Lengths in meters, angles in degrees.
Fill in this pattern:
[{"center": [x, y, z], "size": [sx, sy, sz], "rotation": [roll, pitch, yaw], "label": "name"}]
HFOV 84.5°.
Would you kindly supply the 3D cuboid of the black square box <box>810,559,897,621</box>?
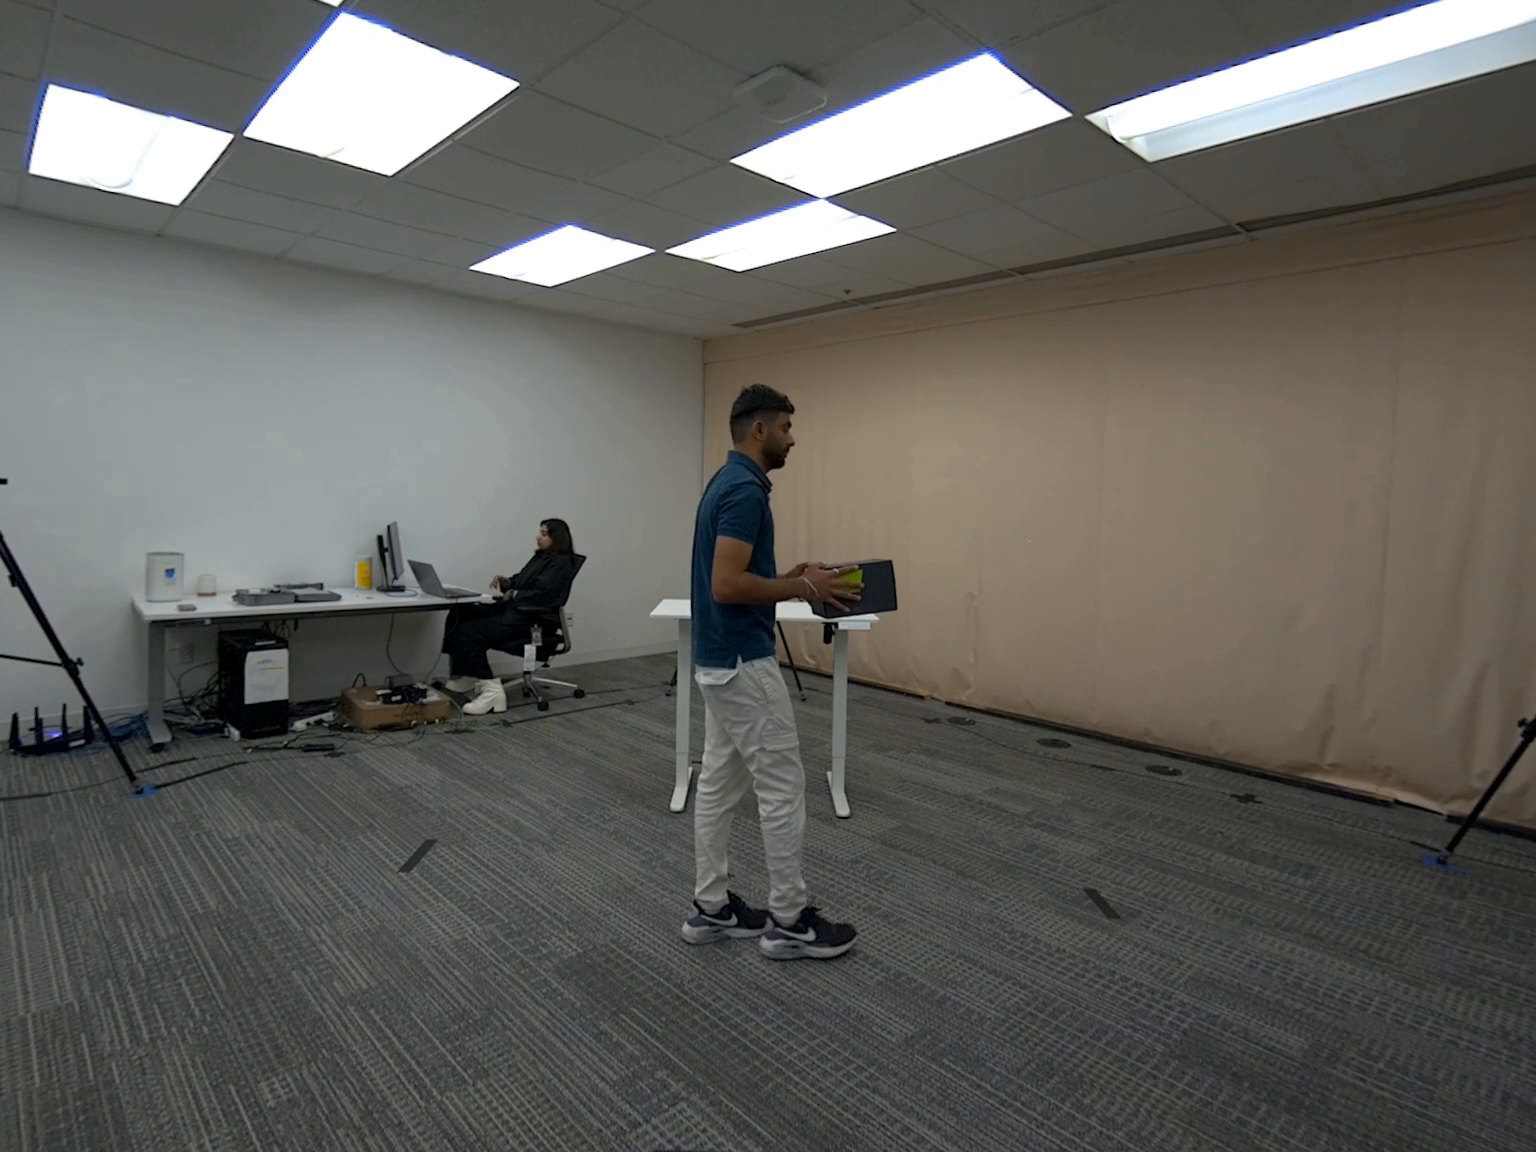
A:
[{"center": [0.256, 0.039, 2.647], "size": [0.227, 0.156, 0.218], "rotation": [-5, 3, -4], "label": "black square box"}]
